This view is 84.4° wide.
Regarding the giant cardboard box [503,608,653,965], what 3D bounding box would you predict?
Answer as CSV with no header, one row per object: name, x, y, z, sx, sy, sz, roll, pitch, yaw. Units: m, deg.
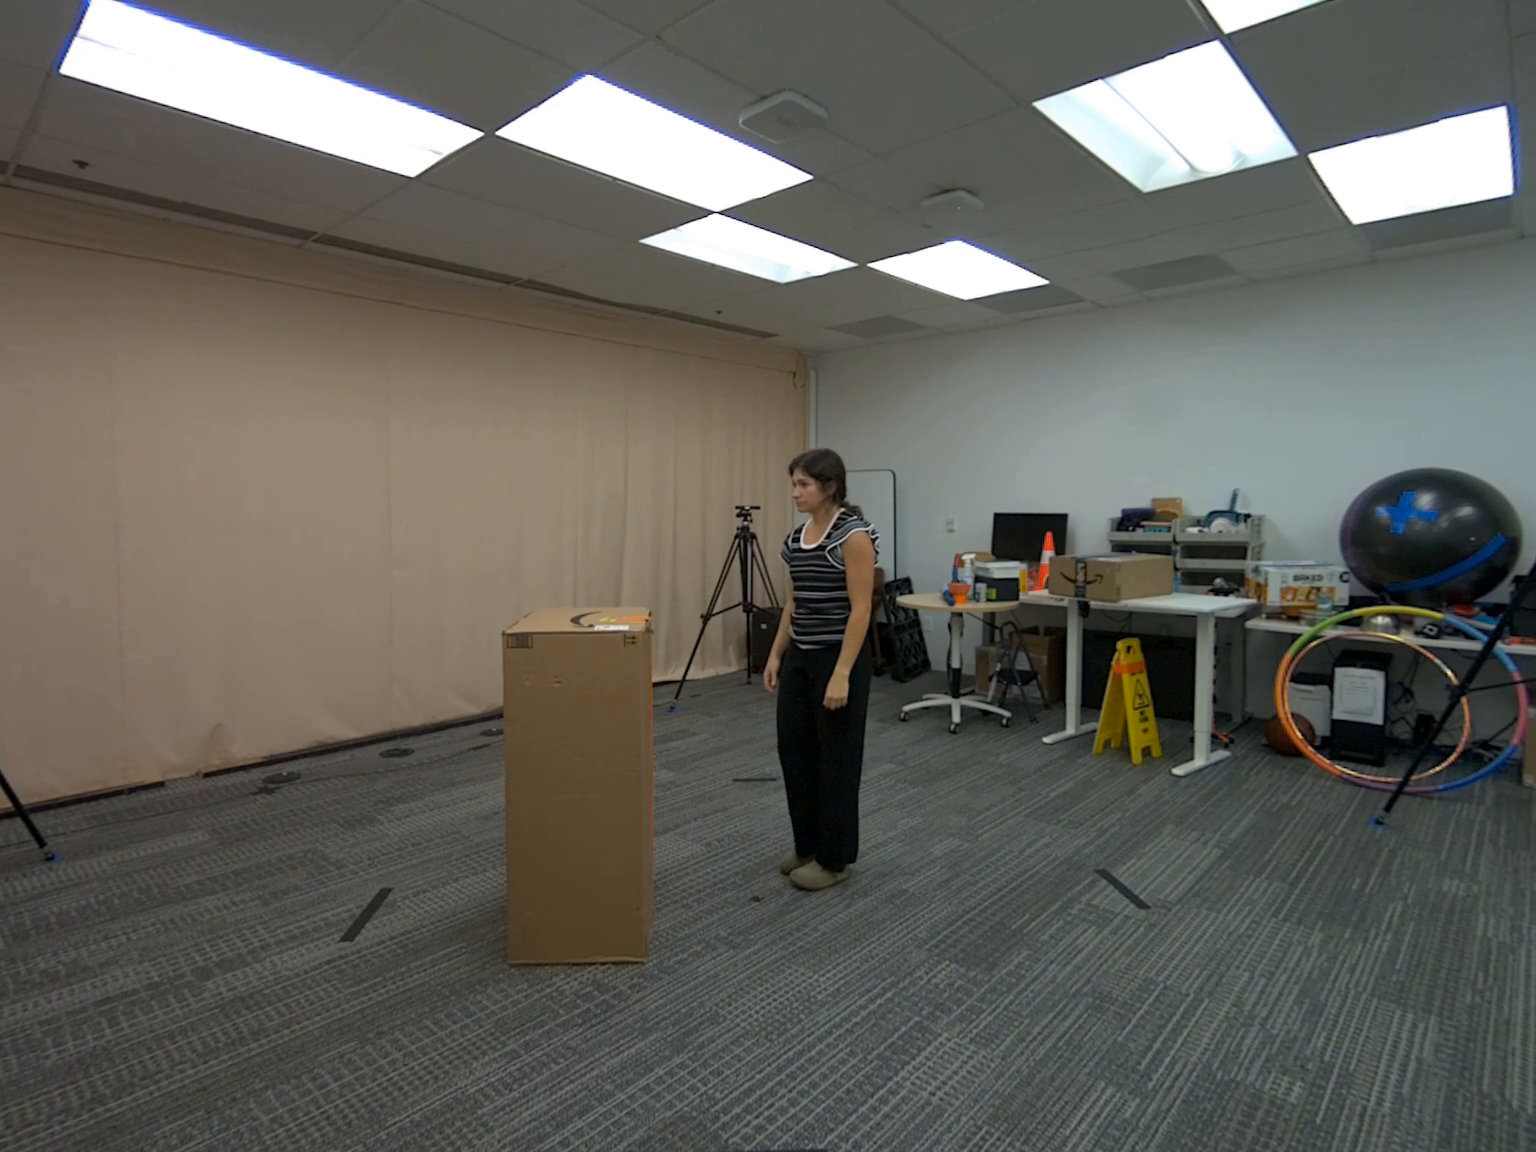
giant cardboard box,-0.610,0.654,2.815,0.424,1.024,0.581,-1,3,-5
